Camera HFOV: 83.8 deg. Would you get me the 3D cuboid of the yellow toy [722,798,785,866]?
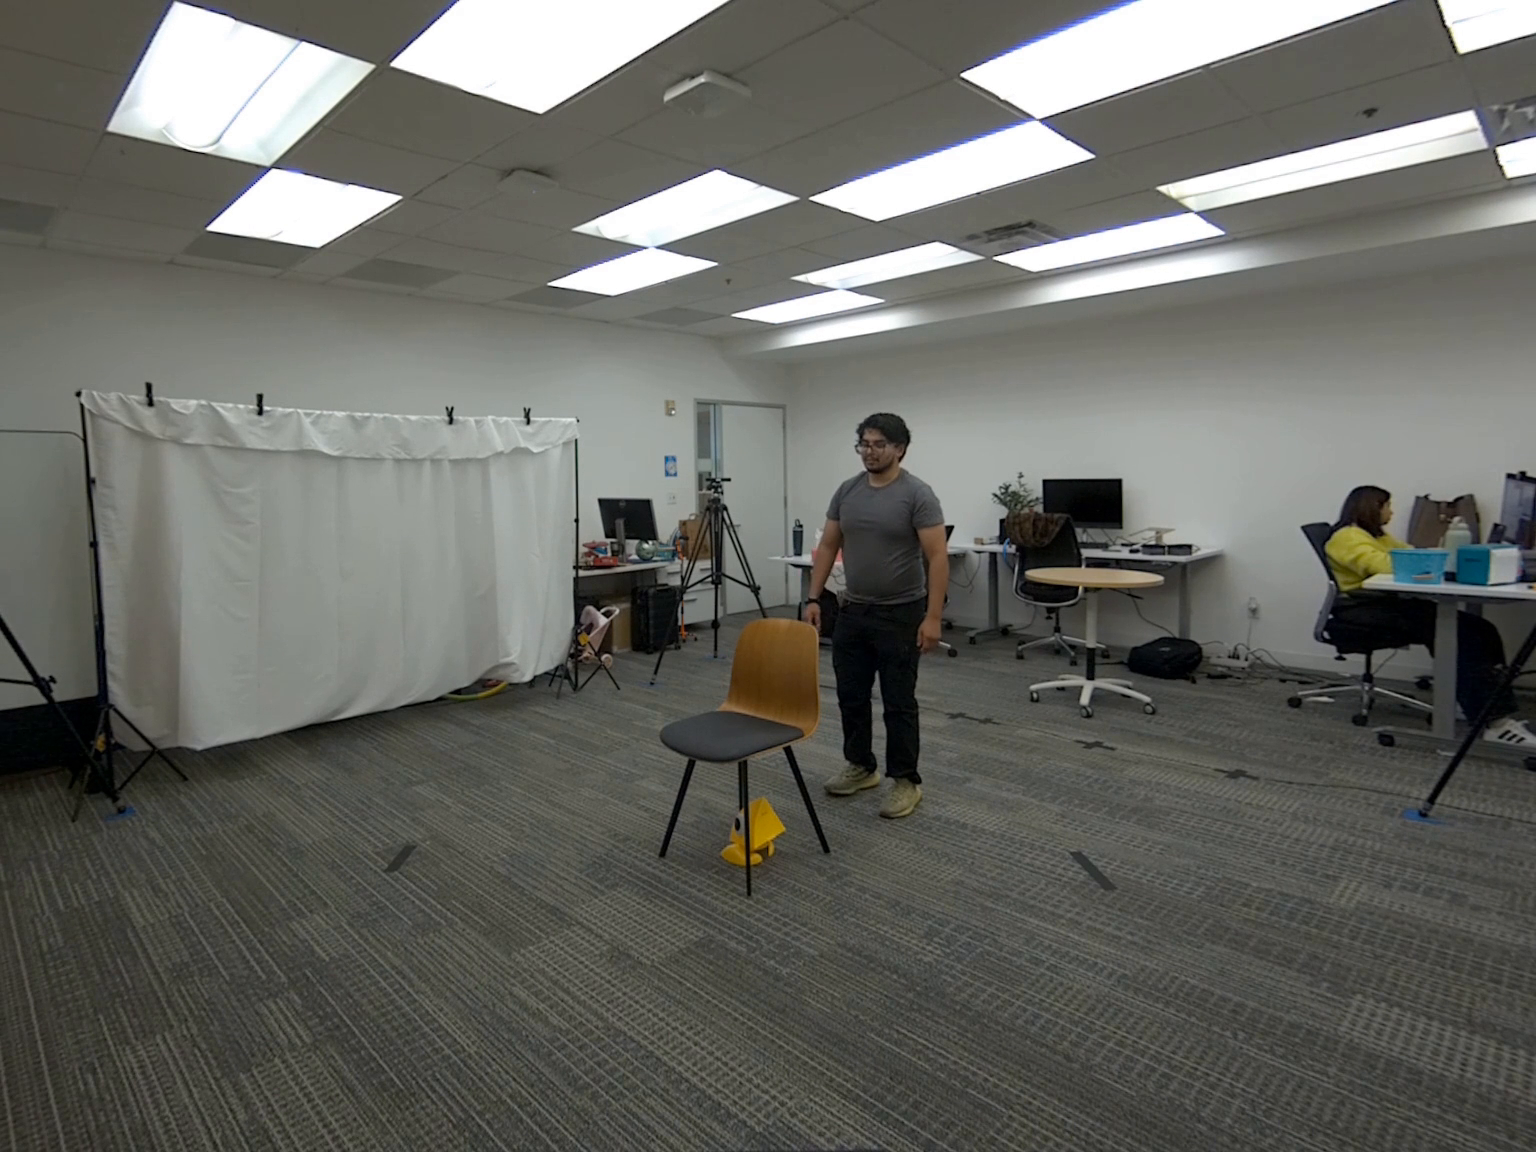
[{"bbox_3d":[-0.061,0.920,3.176,0.199,0.230,0.200,3,6,35],"label":"yellow toy"}]
